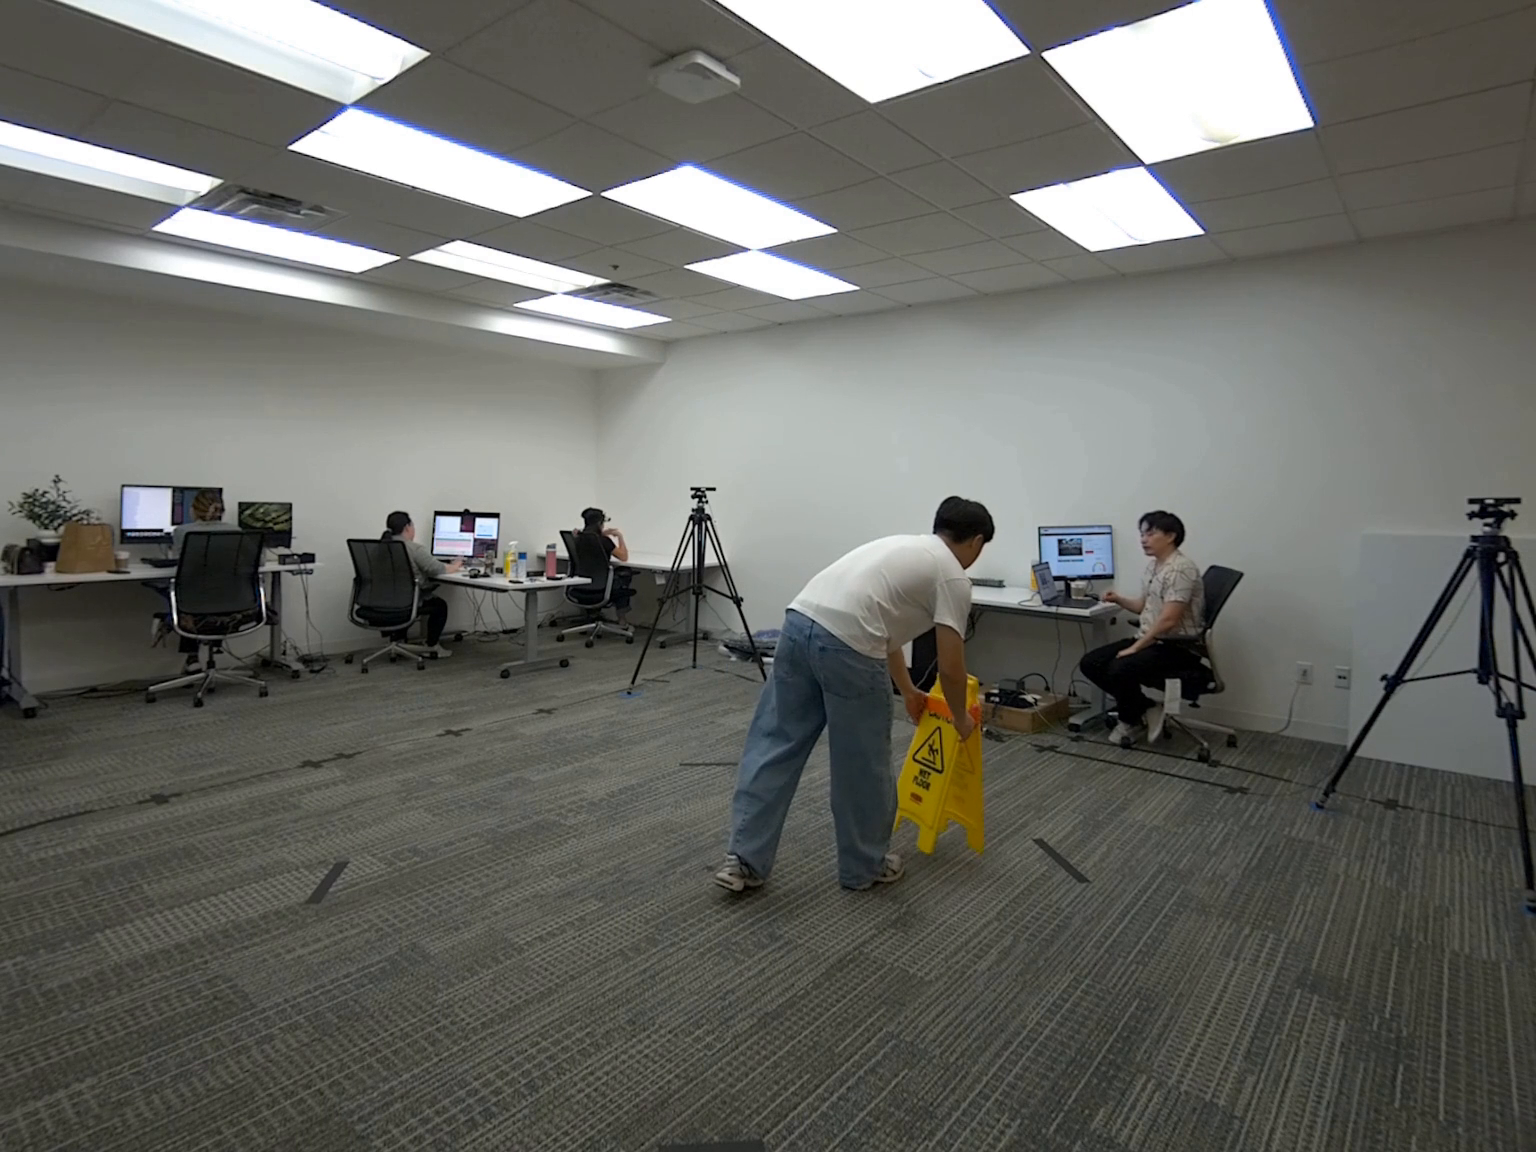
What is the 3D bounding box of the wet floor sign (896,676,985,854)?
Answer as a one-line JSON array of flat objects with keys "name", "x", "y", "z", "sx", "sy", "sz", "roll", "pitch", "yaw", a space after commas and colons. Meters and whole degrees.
[{"name": "wet floor sign", "x": 0.671, "y": 0.683, "z": 3.253, "sx": 0.281, "sy": 0.646, "sz": 0.291, "roll": 9, "pitch": 0, "yaw": -28}]
